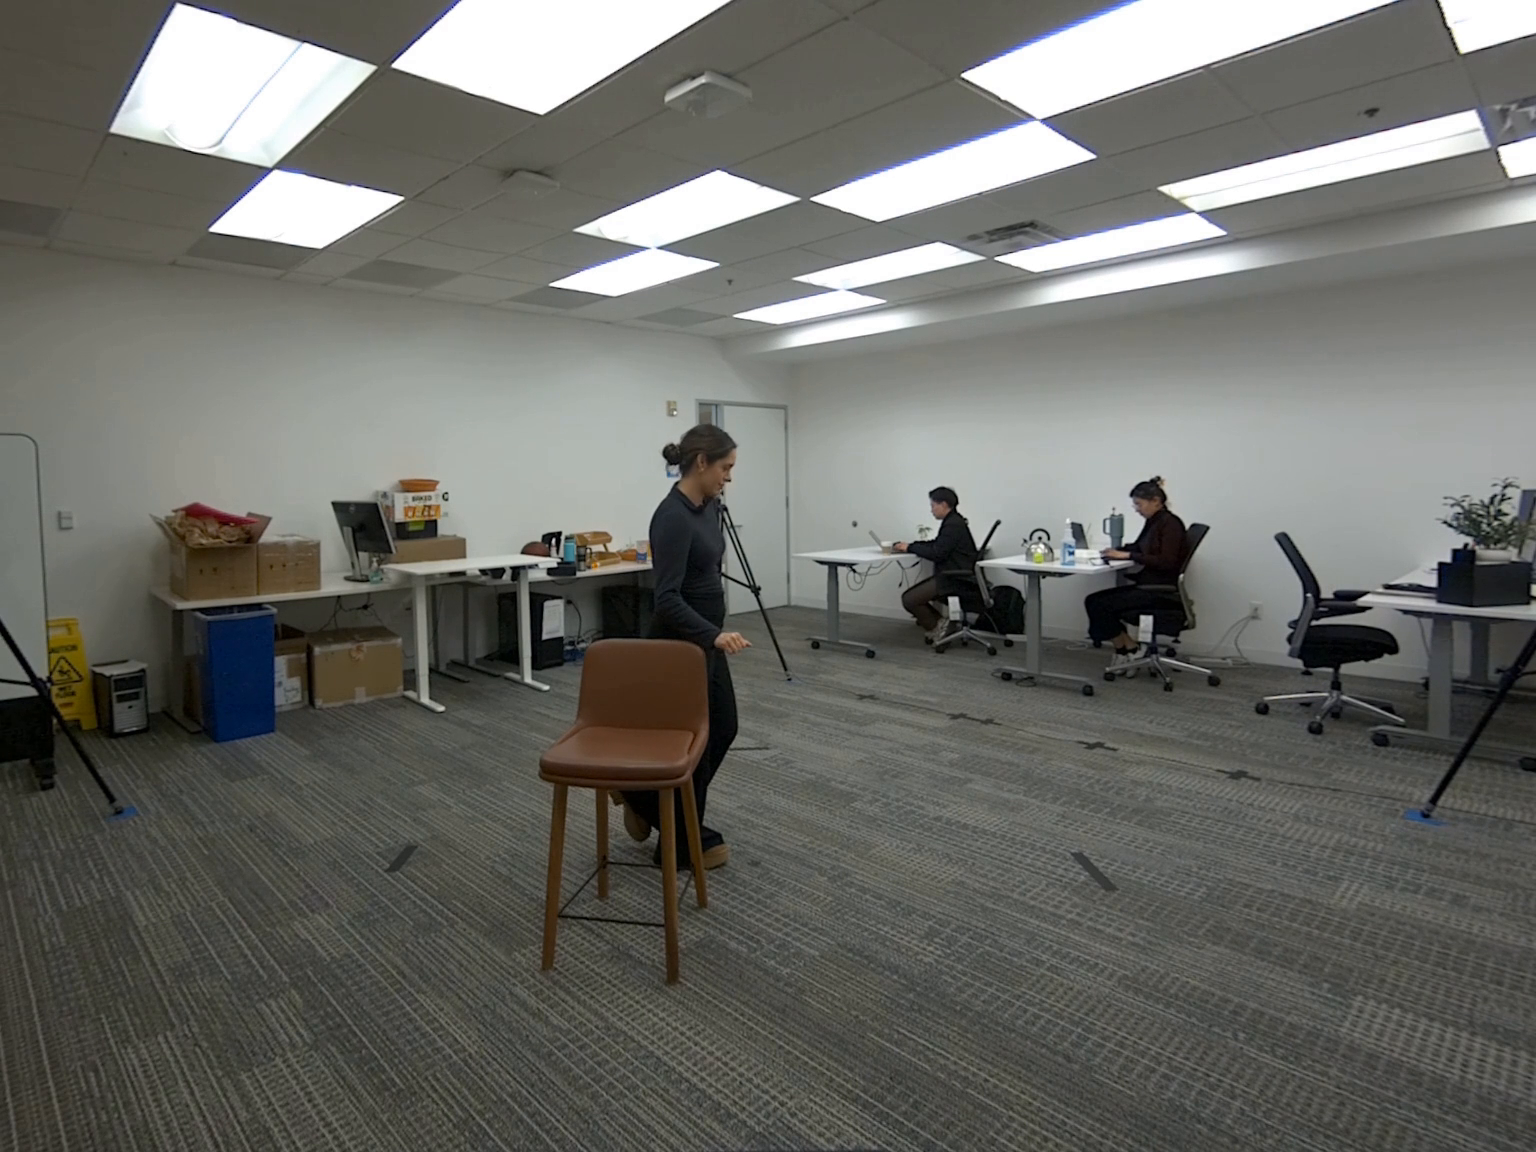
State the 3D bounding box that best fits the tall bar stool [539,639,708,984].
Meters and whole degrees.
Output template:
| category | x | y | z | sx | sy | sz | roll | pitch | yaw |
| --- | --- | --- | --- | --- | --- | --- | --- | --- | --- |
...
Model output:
| category | x | y | z | sx | sy | sz | roll | pitch | yaw |
| --- | --- | --- | --- | --- | --- | --- | --- | --- | --- |
| tall bar stool | -0.423 | 0.675 | 2.606 | 0.462 | 0.888 | 0.463 | 0 | 2 | 11 |
